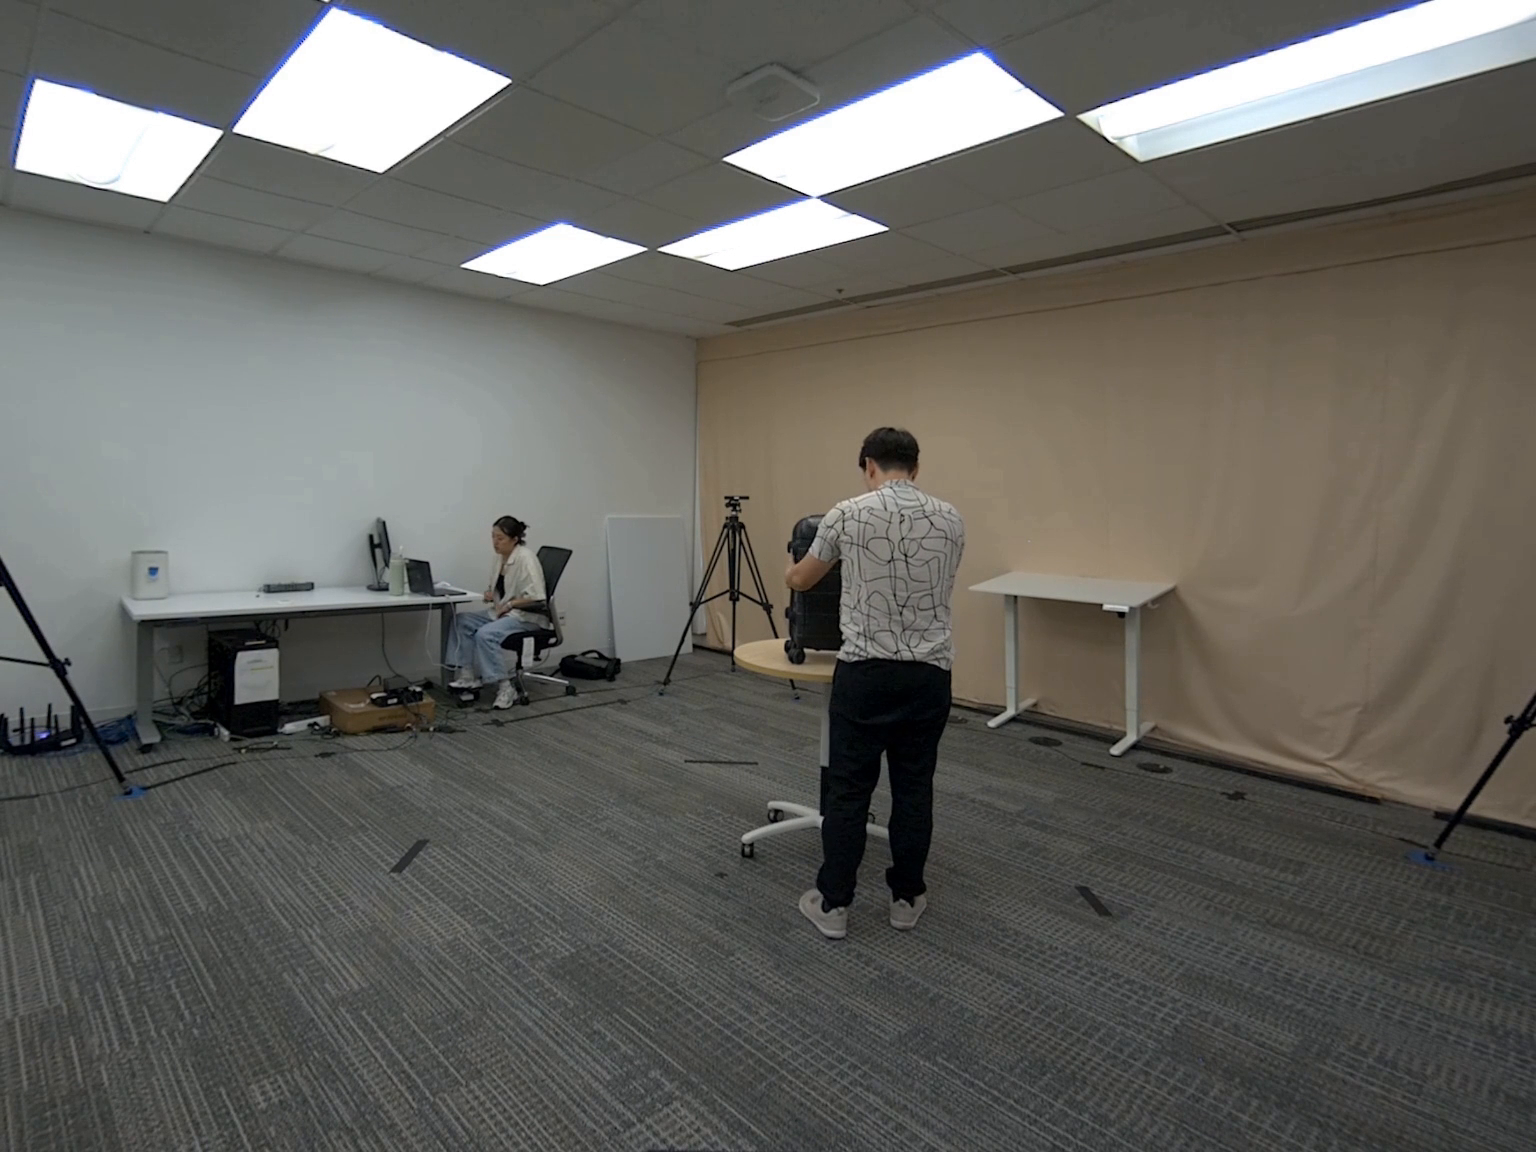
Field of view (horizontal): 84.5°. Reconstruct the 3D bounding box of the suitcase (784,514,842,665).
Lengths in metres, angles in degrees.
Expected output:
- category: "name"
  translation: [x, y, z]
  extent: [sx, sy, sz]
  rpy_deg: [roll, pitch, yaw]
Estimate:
- category: "suitcase"
  translation: [0.267, 0.044, 3.221]
  extent: [0.375, 0.548, 0.249]
  rpy_deg: [3, 4, -3]
